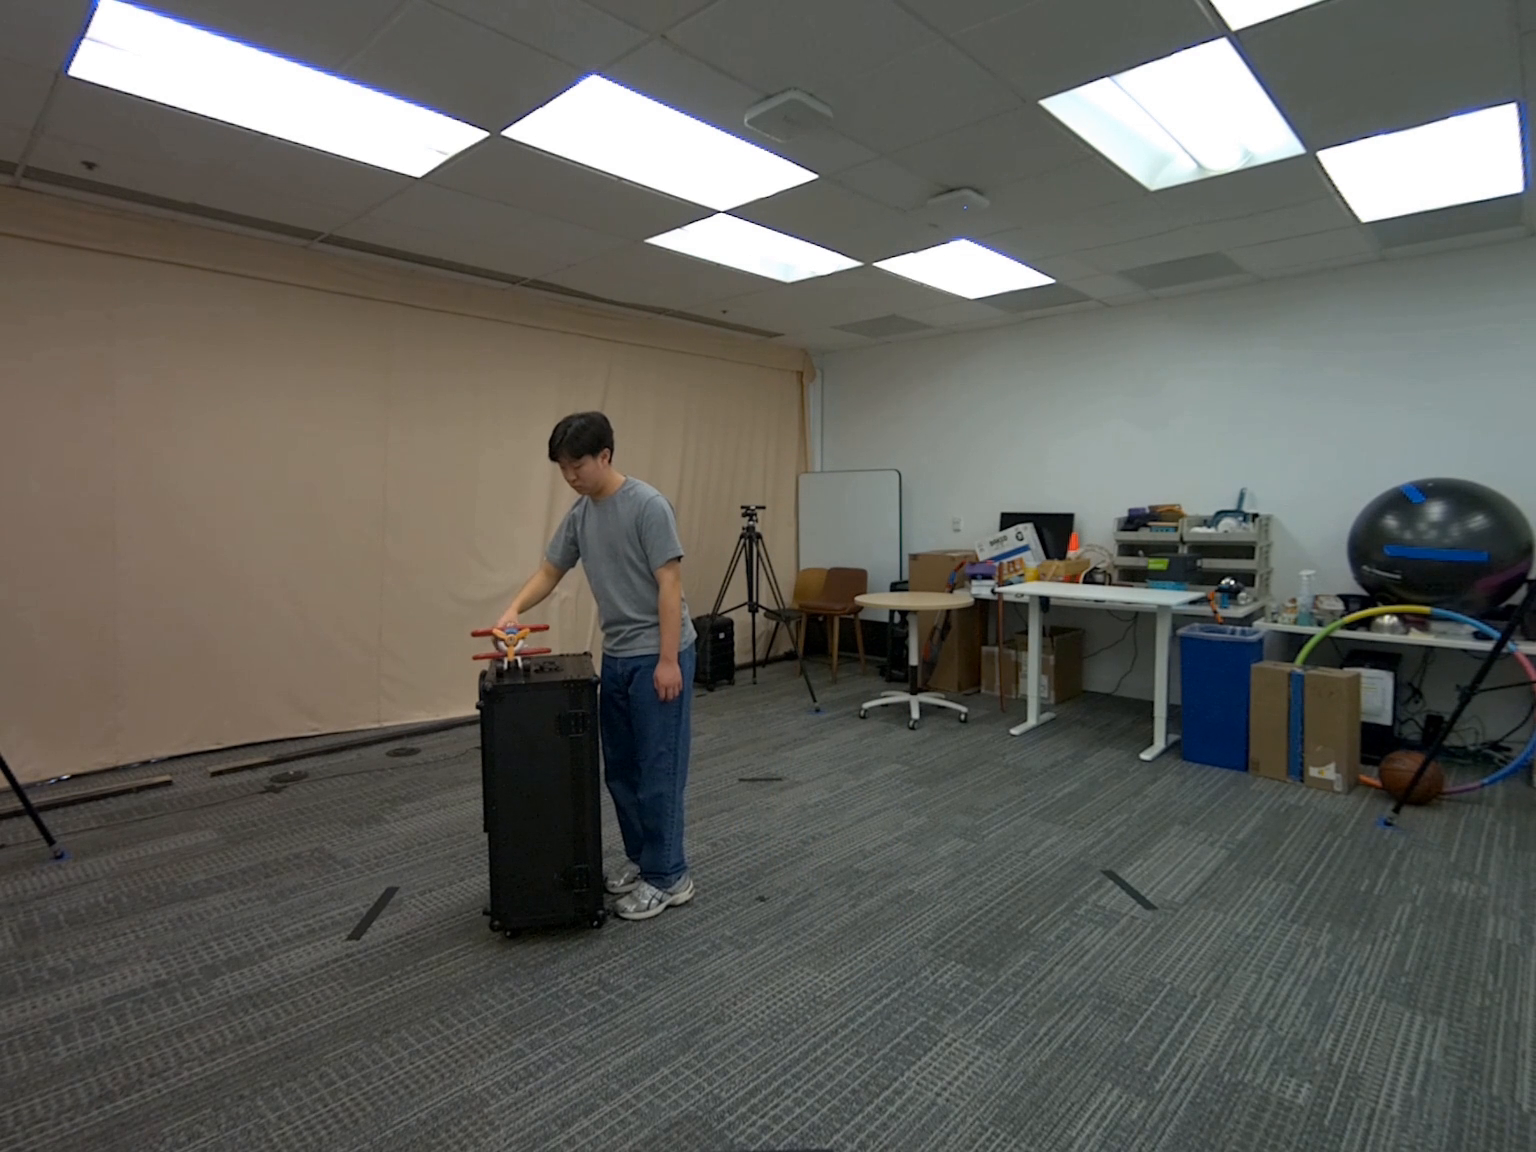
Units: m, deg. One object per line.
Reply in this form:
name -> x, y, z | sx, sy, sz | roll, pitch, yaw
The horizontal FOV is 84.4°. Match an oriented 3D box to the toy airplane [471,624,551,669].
toy airplane -> -0.877, 0.243, 2.817 | 0.244, 0.156, 0.267 | -8, 6, -44
